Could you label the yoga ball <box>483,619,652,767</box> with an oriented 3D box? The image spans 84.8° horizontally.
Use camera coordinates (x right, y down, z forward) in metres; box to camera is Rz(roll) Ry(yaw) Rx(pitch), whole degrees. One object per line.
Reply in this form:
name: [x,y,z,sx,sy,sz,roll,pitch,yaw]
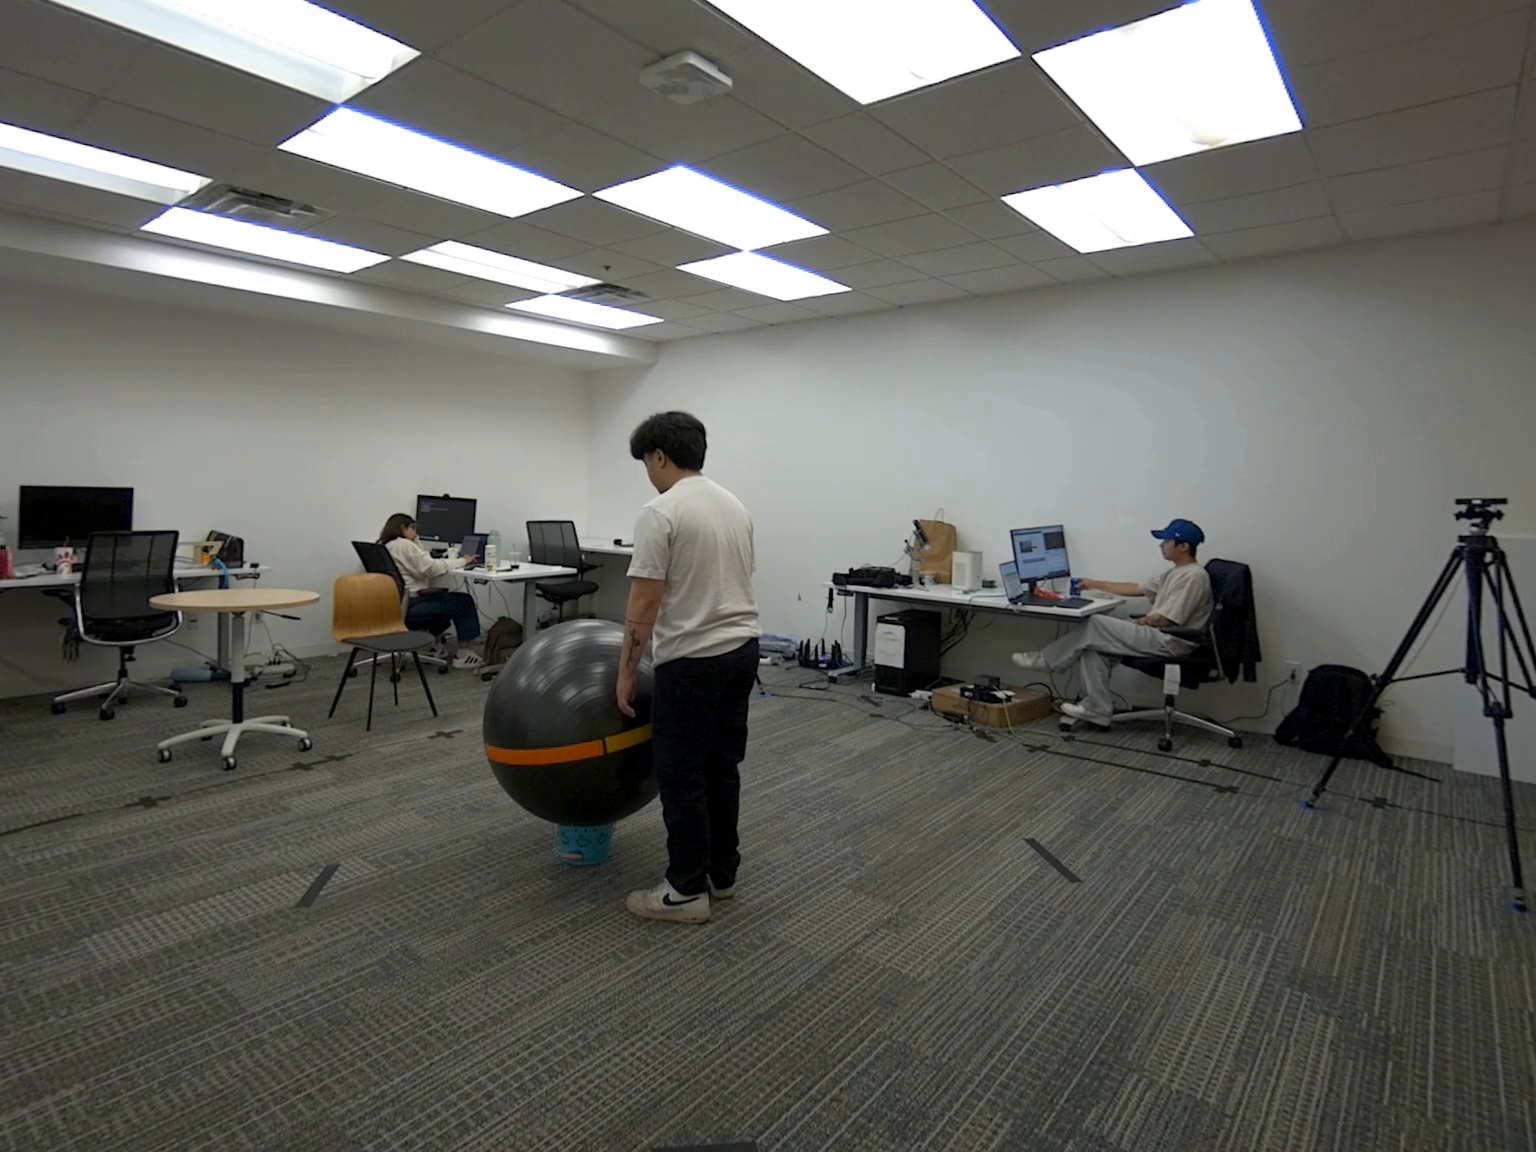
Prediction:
yoga ball: [-0.688,0.544,3.194,0.757,0.755,0.762,1,4,-2]
